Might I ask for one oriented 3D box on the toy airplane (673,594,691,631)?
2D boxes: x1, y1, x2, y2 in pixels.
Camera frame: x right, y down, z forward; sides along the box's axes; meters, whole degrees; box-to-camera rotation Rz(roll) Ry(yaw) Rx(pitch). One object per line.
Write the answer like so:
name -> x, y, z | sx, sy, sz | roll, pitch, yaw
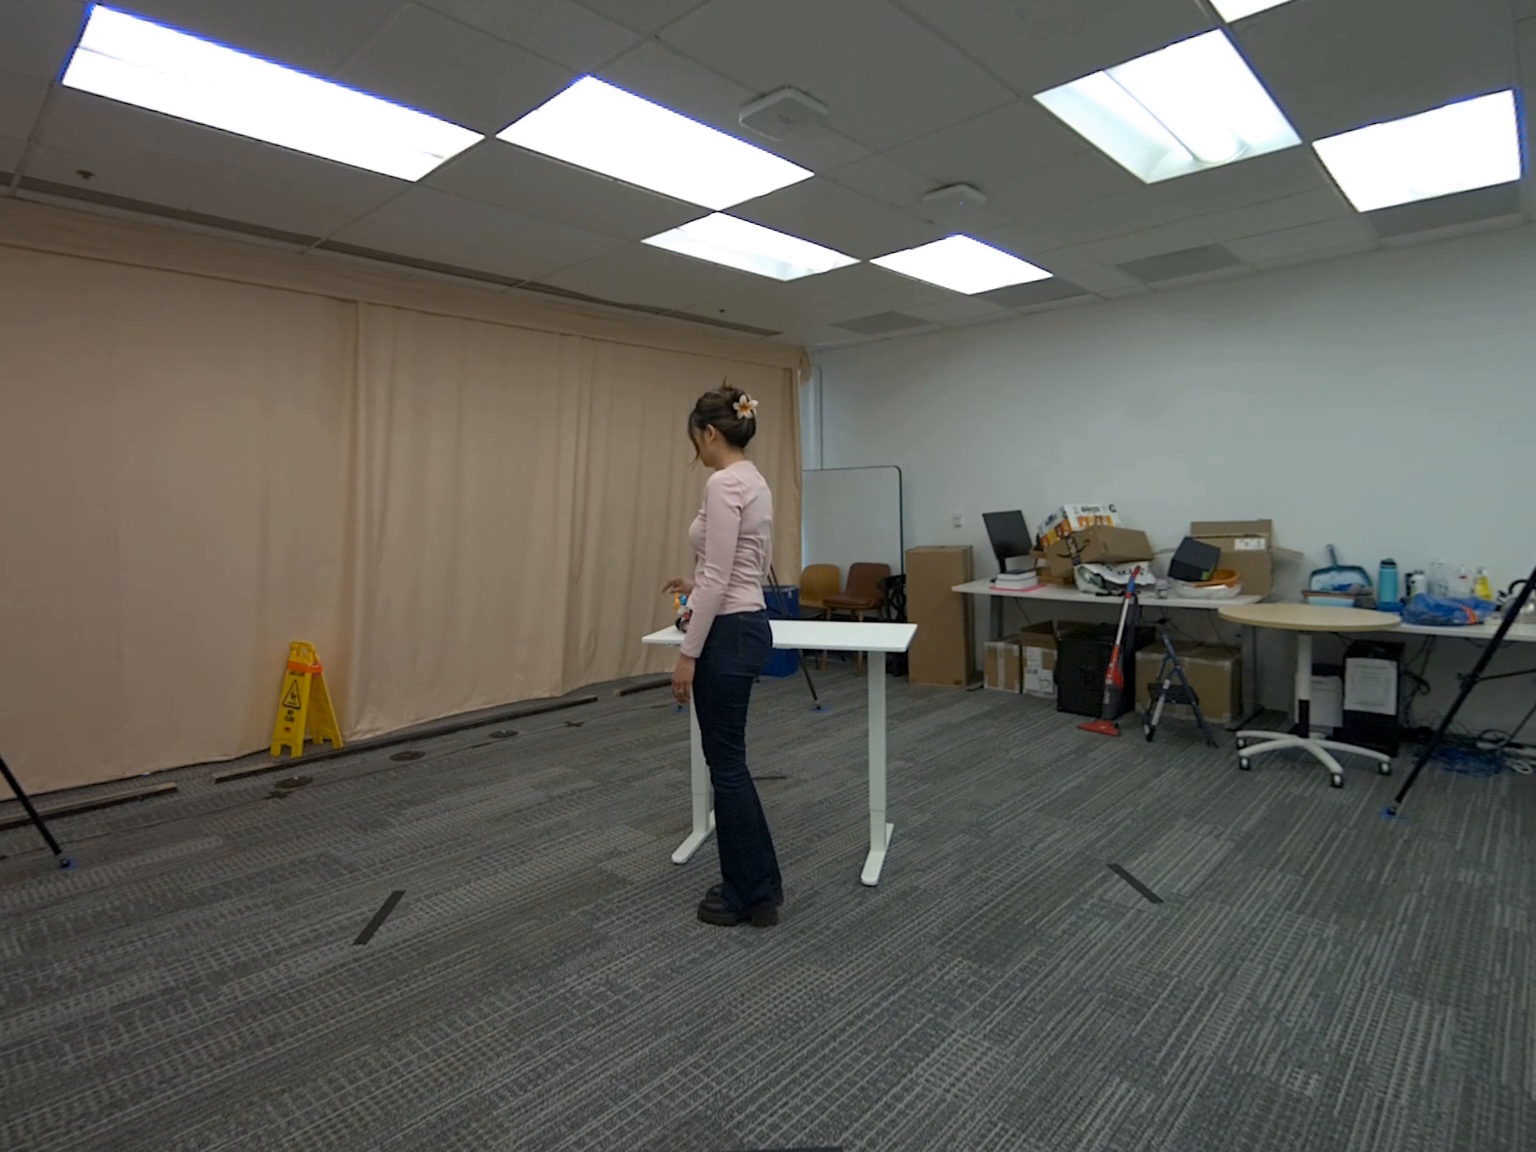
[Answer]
toy airplane -> -0.268, 0.144, 3.455 | 0.251, 0.156, 0.259 | -7, 6, -43
